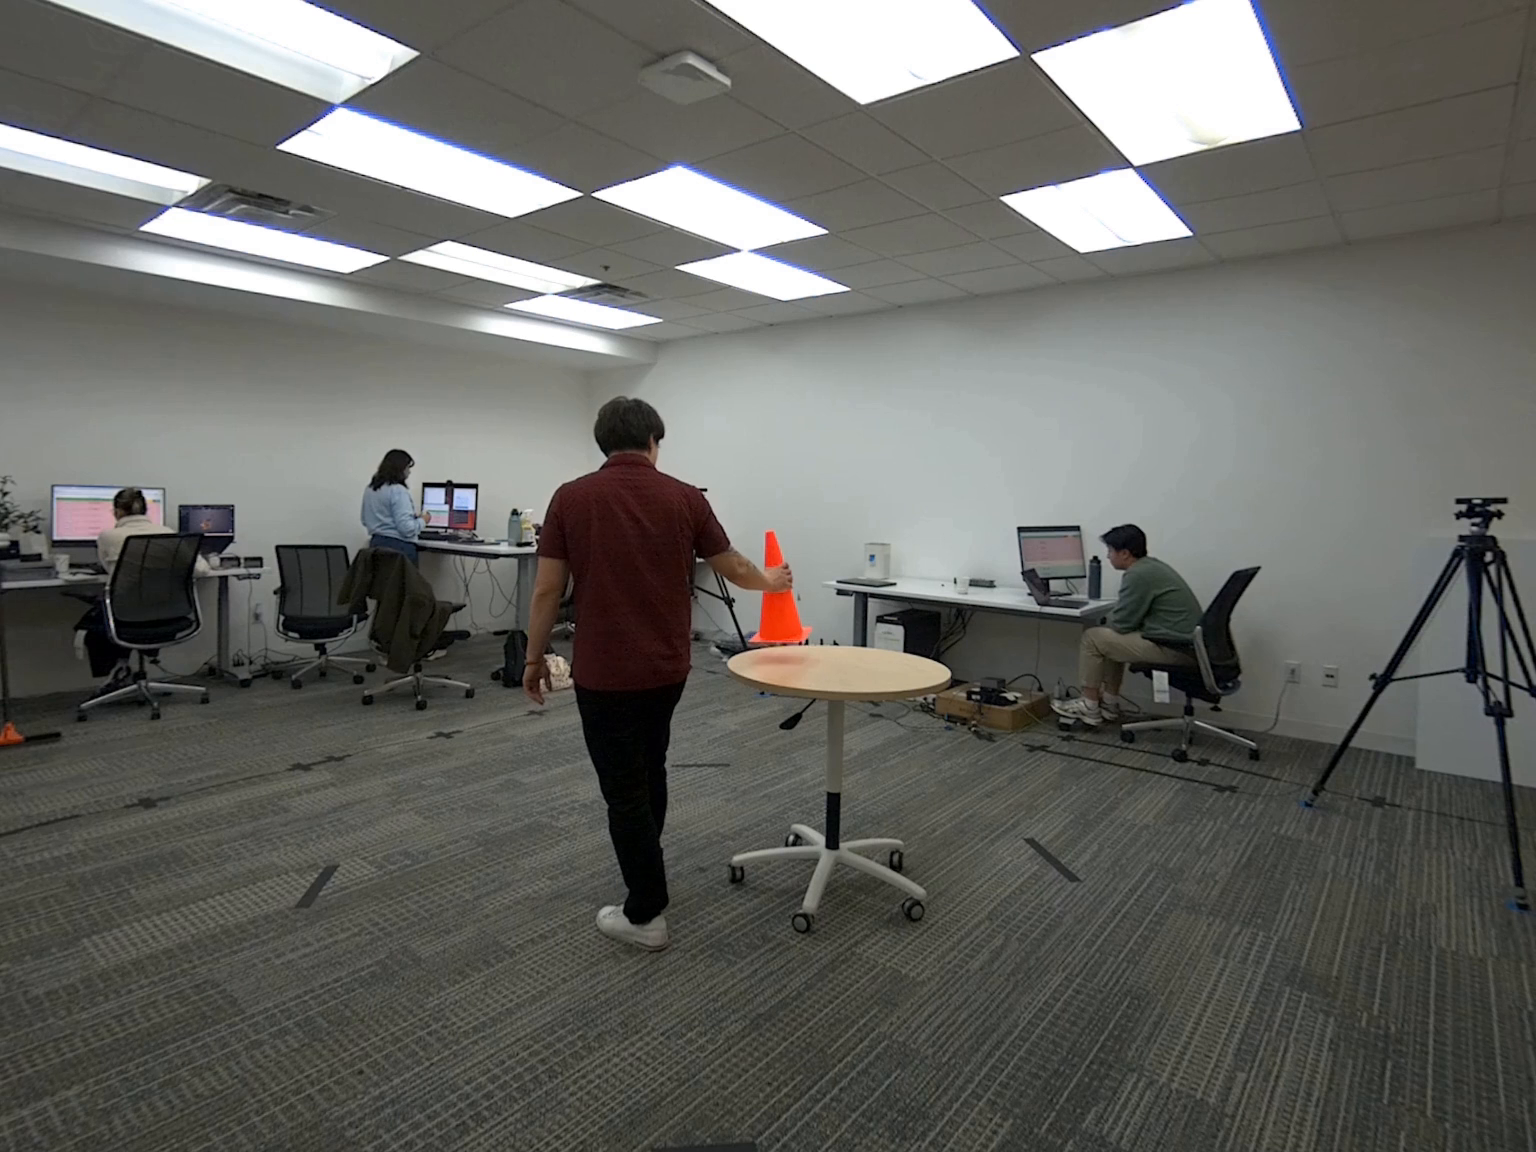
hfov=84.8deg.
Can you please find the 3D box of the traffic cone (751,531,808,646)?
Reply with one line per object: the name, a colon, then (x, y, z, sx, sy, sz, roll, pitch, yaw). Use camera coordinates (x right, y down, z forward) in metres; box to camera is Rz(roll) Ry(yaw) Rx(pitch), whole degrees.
traffic cone: (0.014, 0.026, 3.032, 0.207, 0.380, 0.203, -4, 9, 16)
